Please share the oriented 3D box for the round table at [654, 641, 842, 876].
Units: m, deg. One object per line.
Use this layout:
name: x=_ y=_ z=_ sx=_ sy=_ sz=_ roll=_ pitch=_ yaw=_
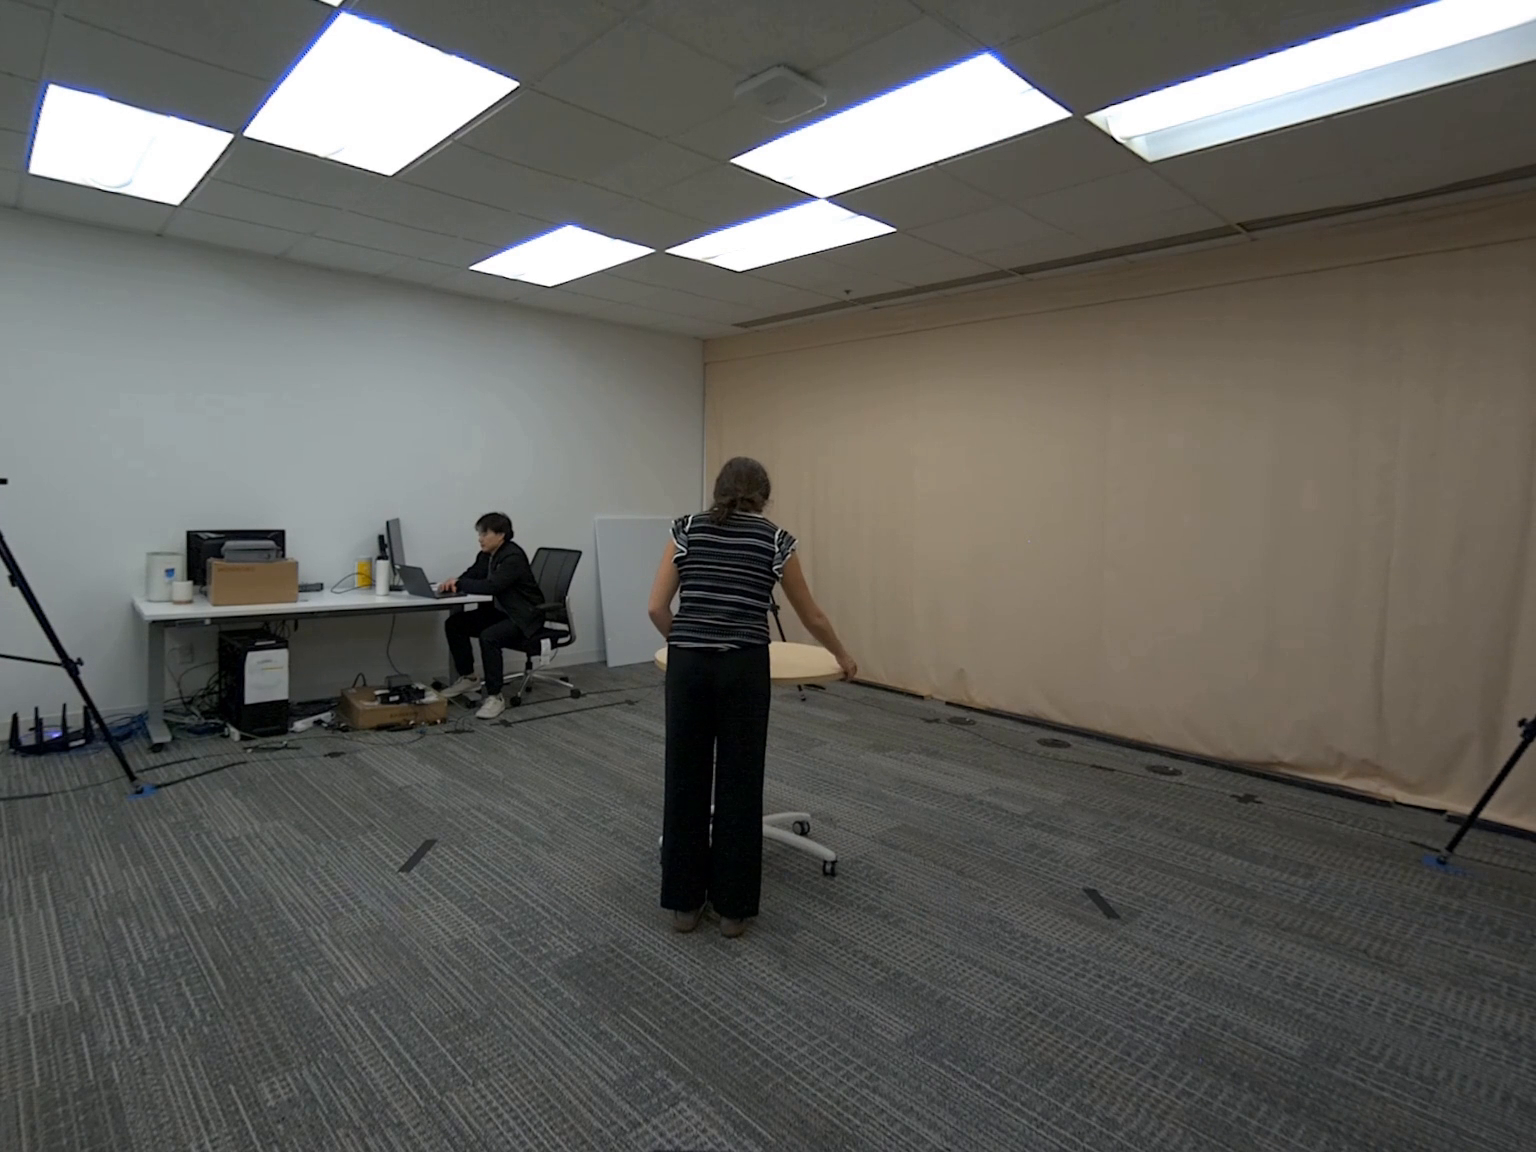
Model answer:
round table: x=-0.070 y=0.705 z=3.241 sx=0.784 sy=0.785 sz=0.787 roll=2 pitch=3 yaw=-1
